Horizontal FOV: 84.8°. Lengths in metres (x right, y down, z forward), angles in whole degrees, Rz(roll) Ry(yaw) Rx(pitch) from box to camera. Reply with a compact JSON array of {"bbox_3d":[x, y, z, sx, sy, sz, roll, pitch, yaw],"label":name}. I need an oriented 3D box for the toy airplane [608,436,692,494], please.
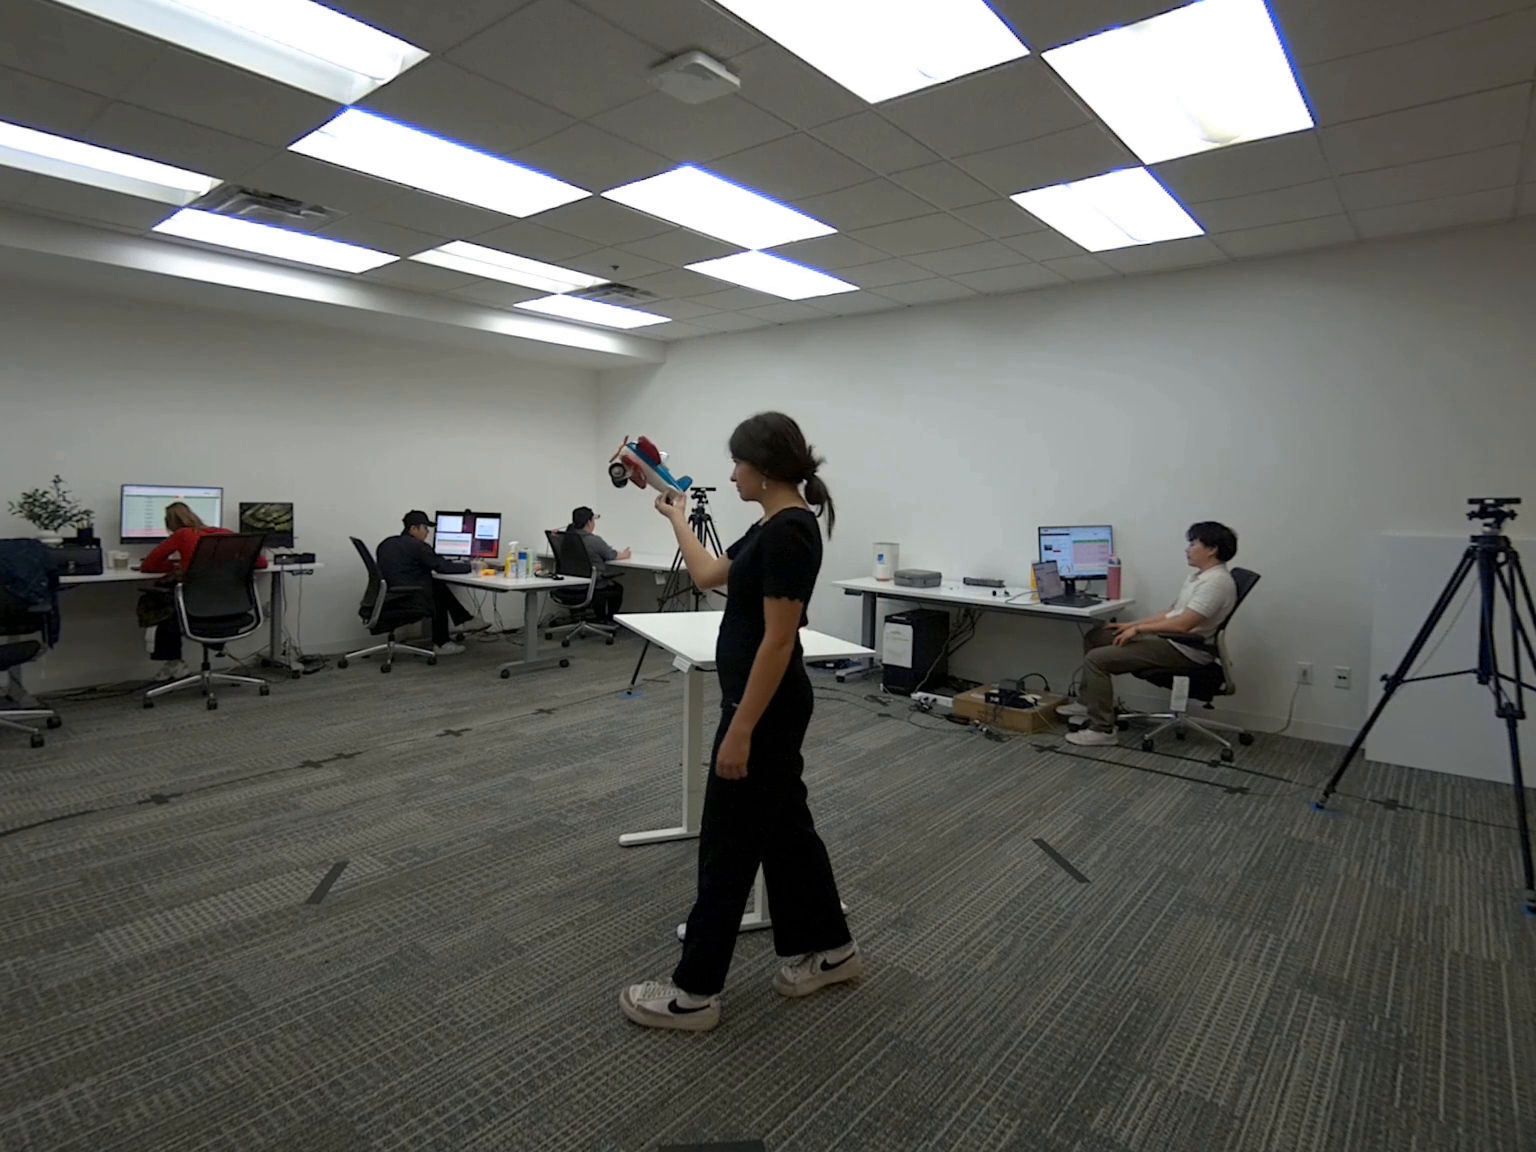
[{"bbox_3d":[-0.389,-0.325,2.720,0.251,0.157,0.258,33,-13,-25],"label":"toy airplane"}]
